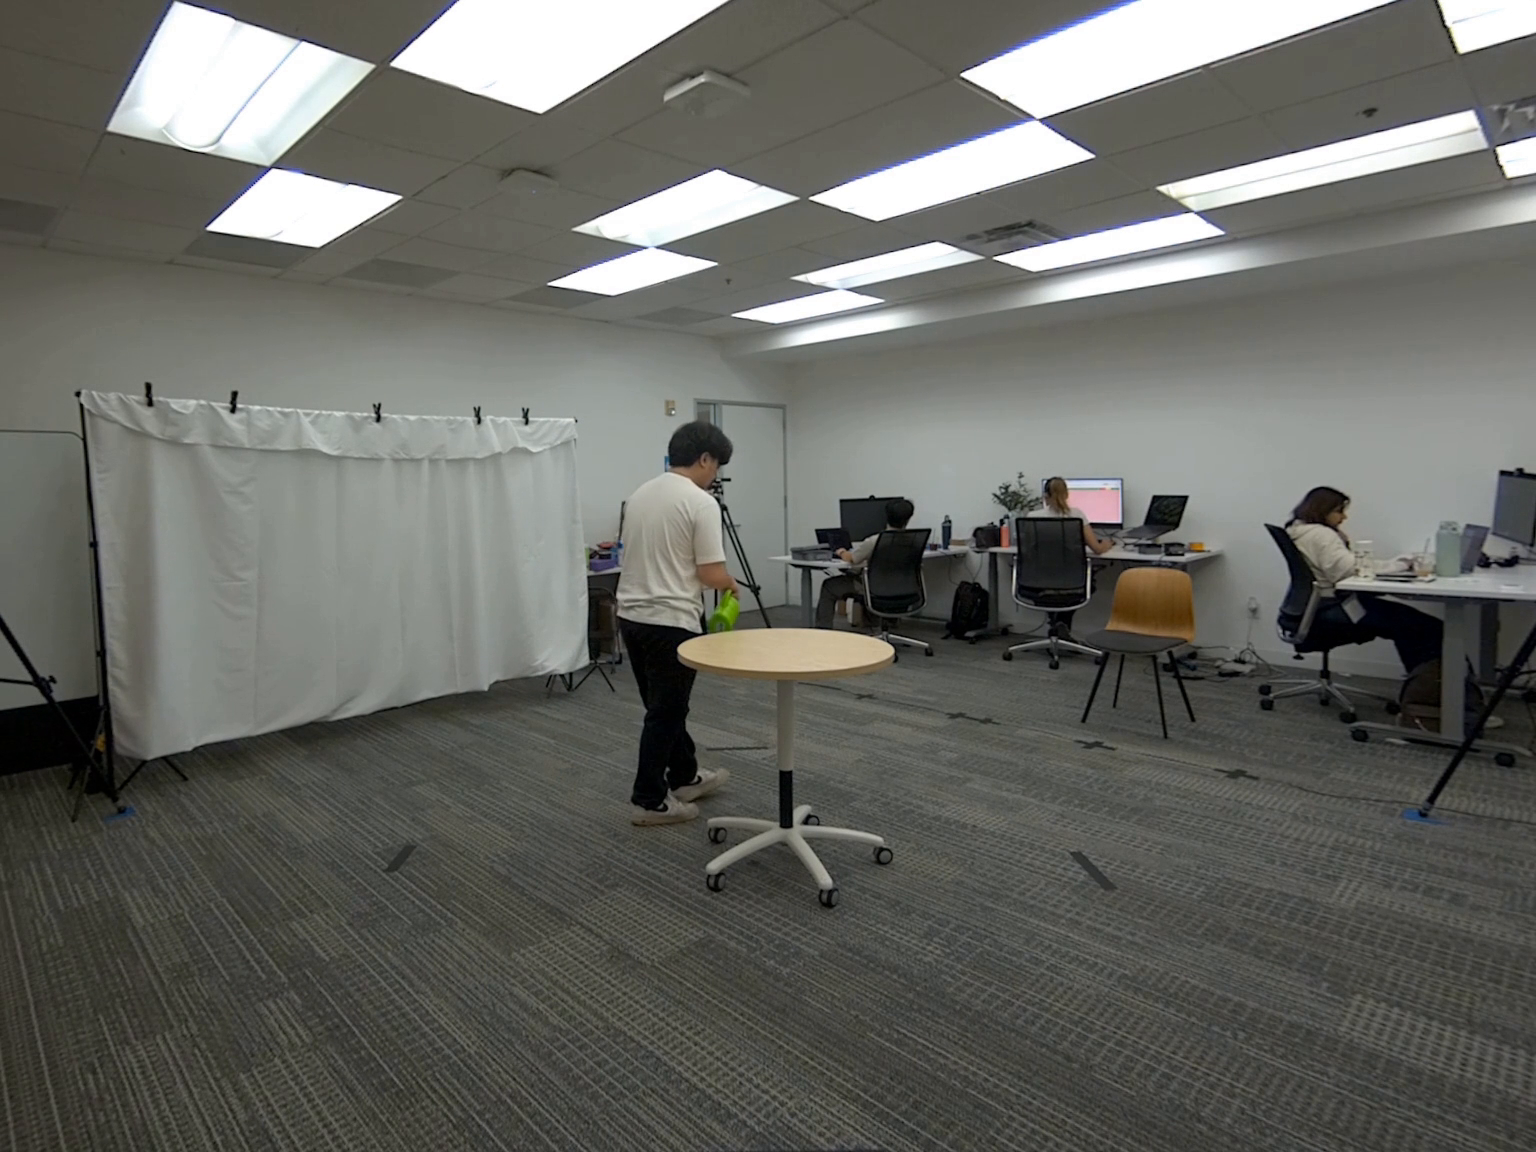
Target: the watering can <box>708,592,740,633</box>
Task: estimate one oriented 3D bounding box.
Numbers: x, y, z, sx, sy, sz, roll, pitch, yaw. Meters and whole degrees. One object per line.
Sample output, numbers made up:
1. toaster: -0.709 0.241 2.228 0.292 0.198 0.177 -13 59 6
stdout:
1. watering can: -0.173 0.192 3.602 0.100 0.270 0.179 2 36 18
